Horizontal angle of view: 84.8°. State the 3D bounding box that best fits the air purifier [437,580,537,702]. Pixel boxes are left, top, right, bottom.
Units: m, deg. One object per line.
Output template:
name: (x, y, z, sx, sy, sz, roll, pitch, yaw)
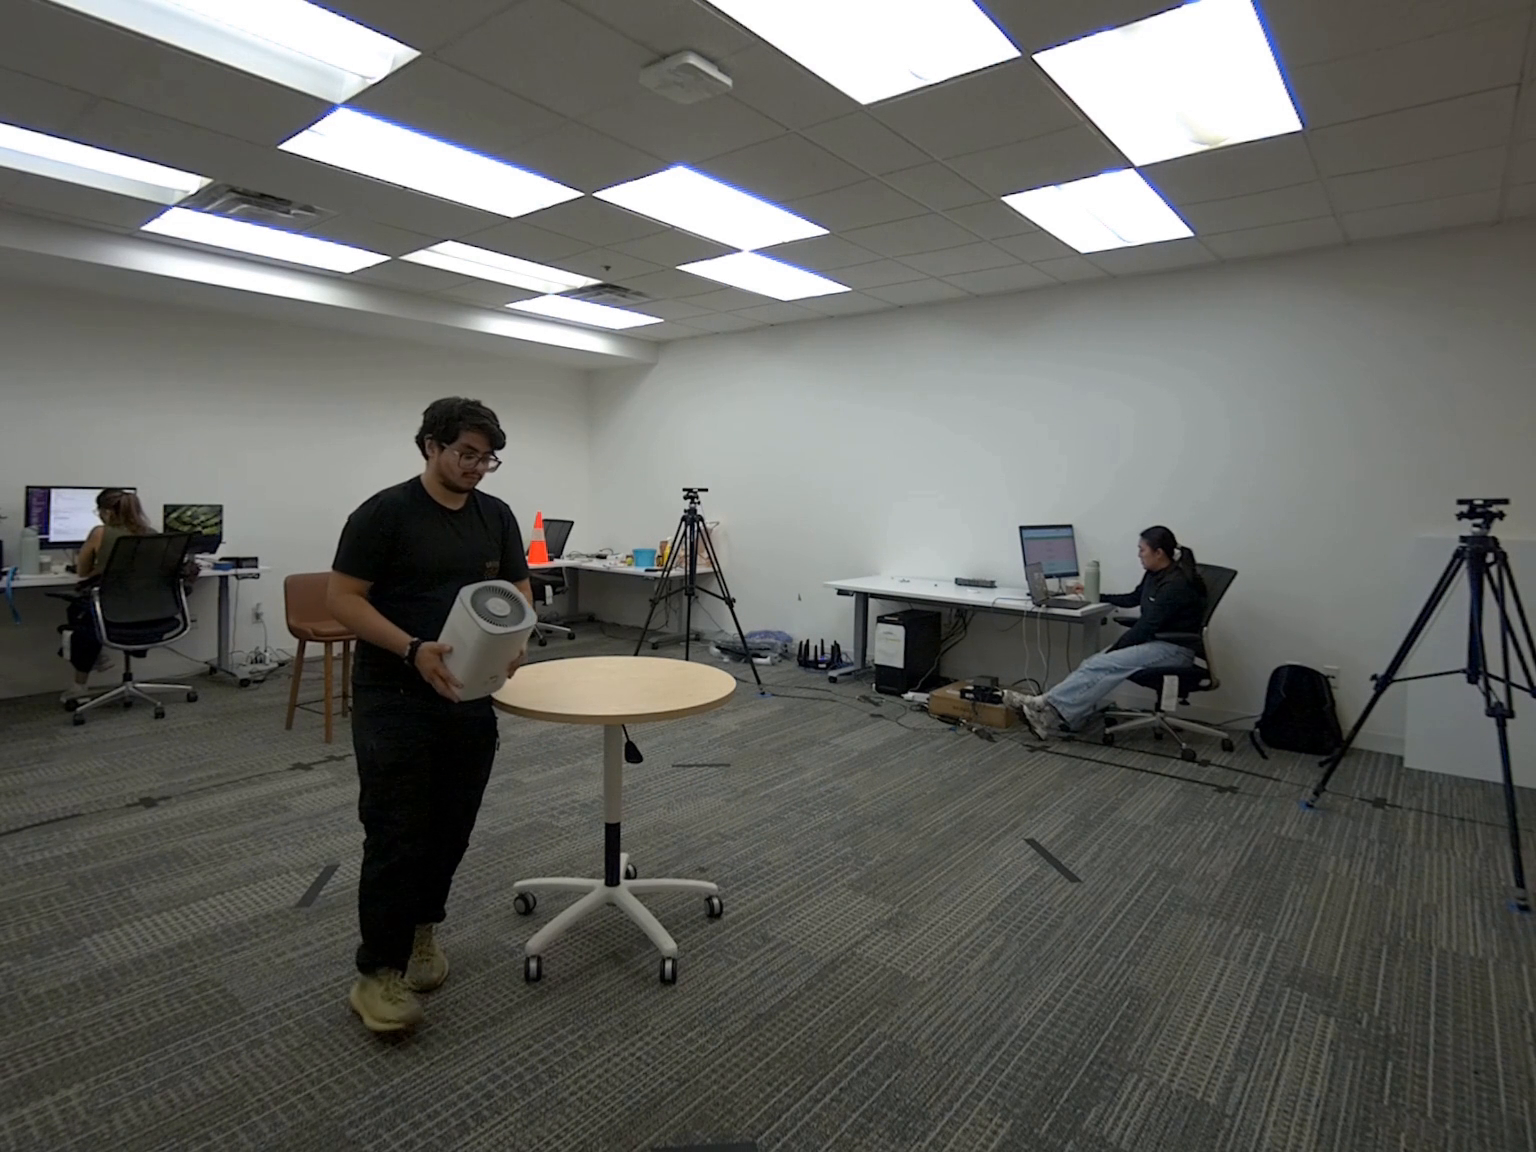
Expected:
air purifier: (-0.738, 0.162, 2.138, 0.163, 0.260, 0.180, -8, 49, -51)
